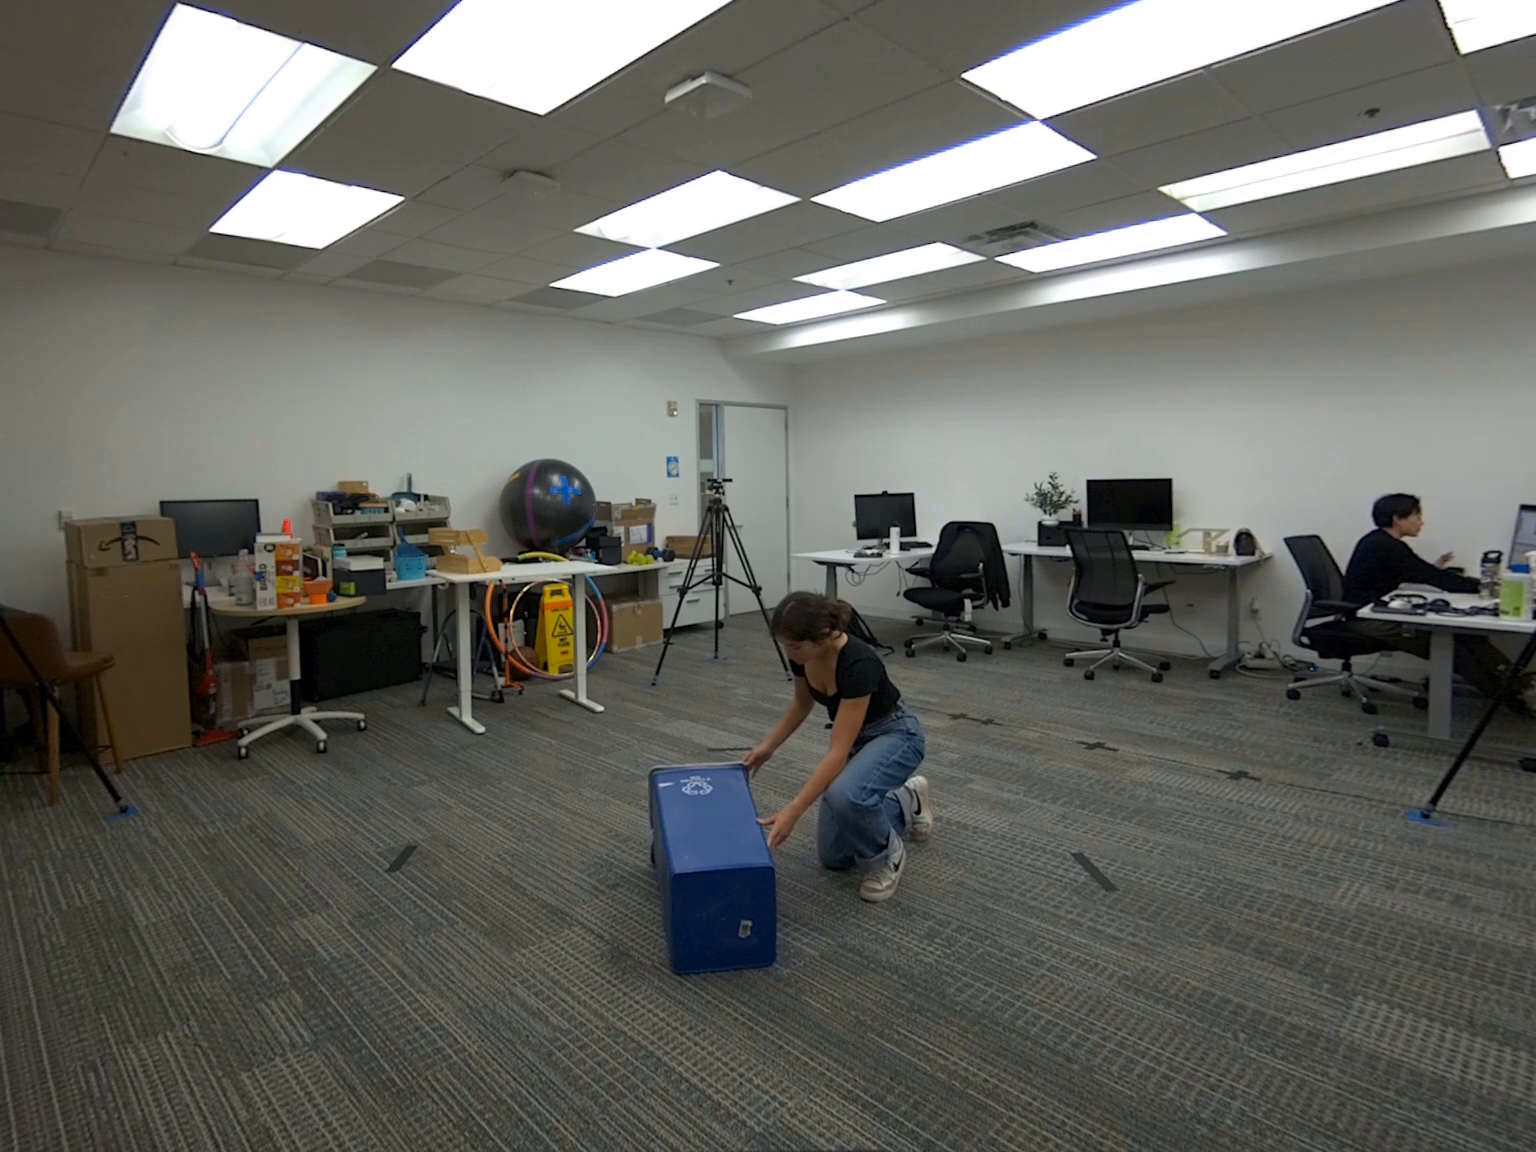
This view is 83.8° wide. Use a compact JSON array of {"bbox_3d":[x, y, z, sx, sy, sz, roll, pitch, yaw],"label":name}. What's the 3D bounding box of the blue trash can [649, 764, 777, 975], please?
[{"bbox_3d":[-0.181,0.918,2.764,0.371,0.375,0.725,-2,9,-10],"label":"blue trash can"}]
